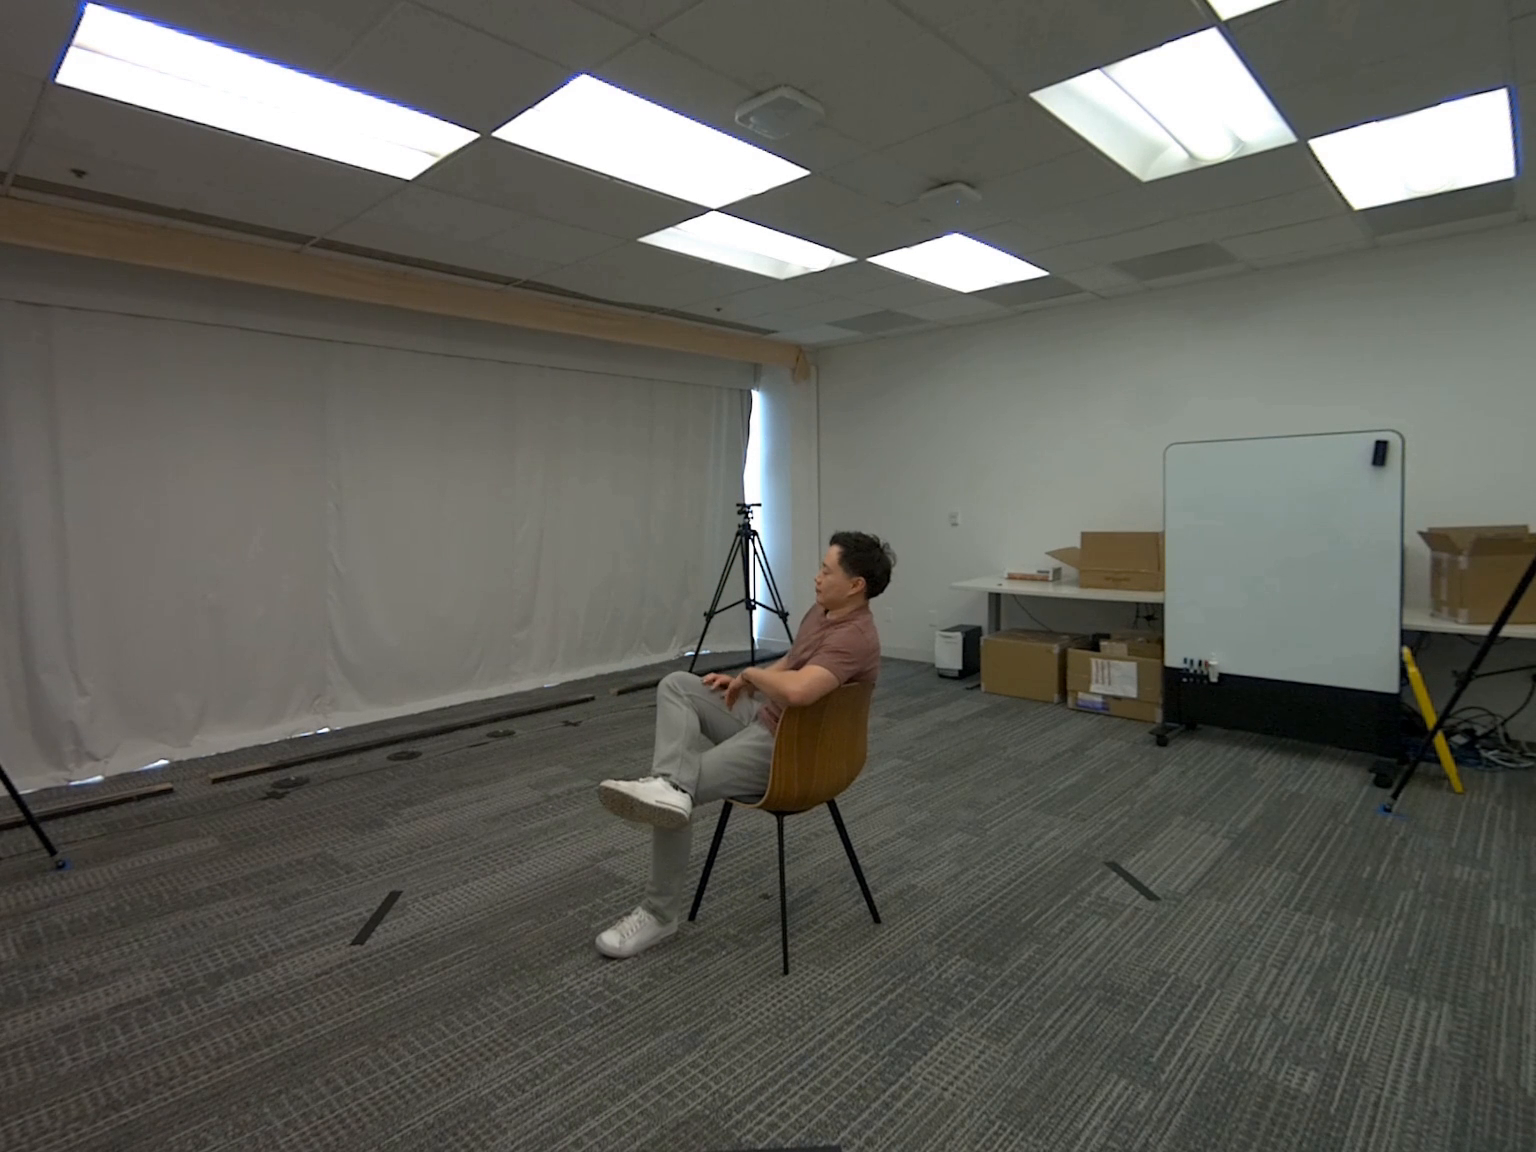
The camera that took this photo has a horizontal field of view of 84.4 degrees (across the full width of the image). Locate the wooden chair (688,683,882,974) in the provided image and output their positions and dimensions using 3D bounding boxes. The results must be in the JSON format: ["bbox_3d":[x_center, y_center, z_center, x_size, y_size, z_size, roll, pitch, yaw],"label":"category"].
[{"bbox_3d":[0.046,0.726,2.776,0.463,0.874,0.541,-4,9,-43],"label":"wooden chair"}]
